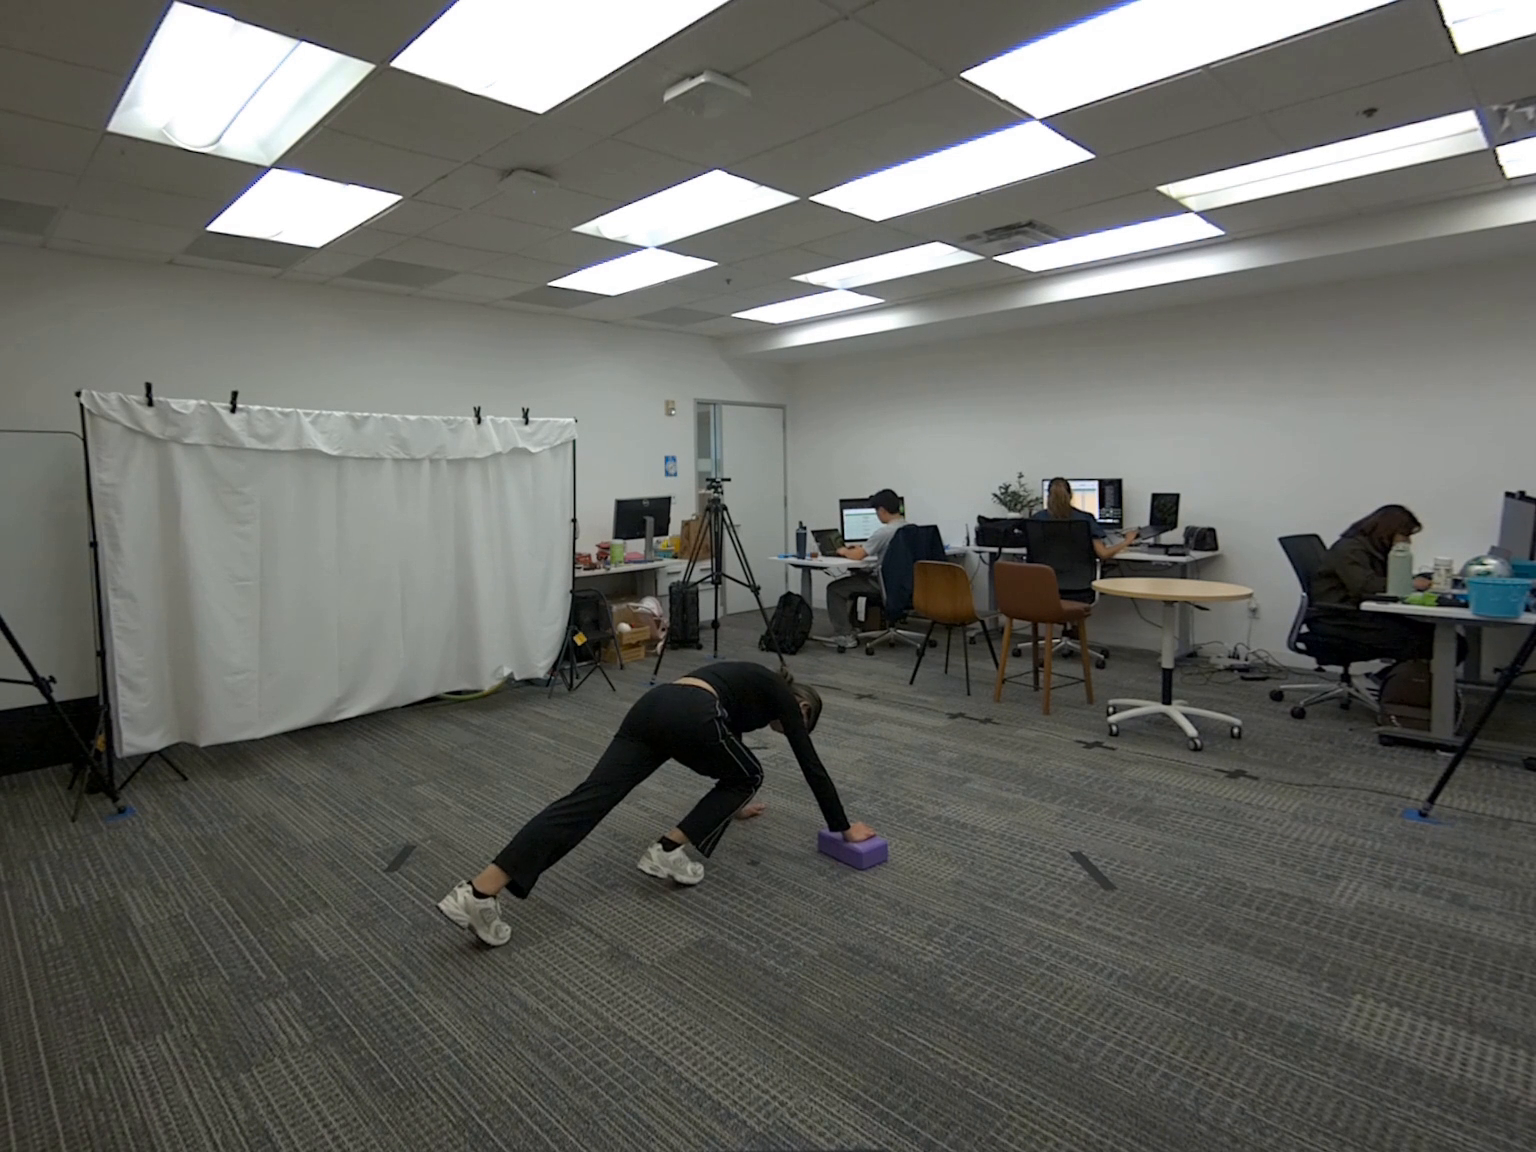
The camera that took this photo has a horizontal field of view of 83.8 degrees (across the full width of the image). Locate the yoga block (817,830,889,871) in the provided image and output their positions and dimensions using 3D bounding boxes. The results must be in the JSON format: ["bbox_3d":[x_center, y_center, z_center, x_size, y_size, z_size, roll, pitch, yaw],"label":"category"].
[{"bbox_3d":[0.309,0.993,3.151,0.145,0.076,0.236,-5,8,-38],"label":"yoga block"}]
